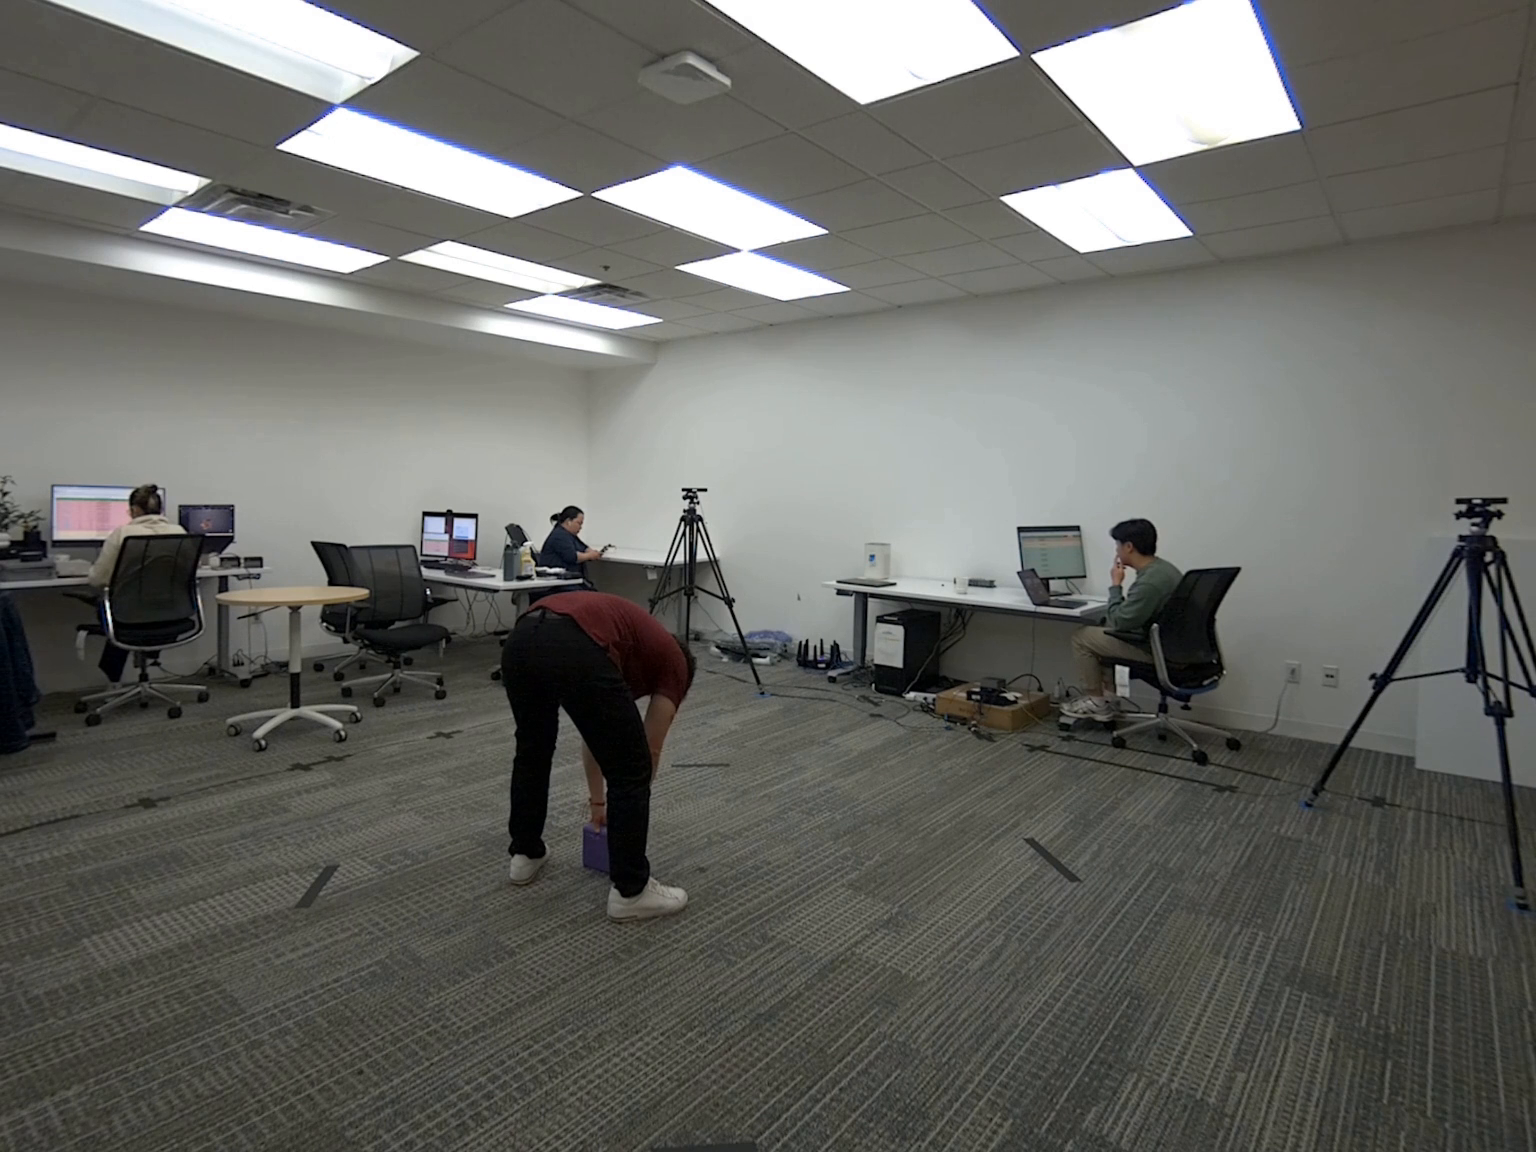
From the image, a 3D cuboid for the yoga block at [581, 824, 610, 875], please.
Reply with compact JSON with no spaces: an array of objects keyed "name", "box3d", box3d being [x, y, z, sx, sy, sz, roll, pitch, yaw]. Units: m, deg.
[{"name":"yoga block","box3d":[-0.583,0.996,3.081,0.236,0.148,0.075,4,8,29]}]
